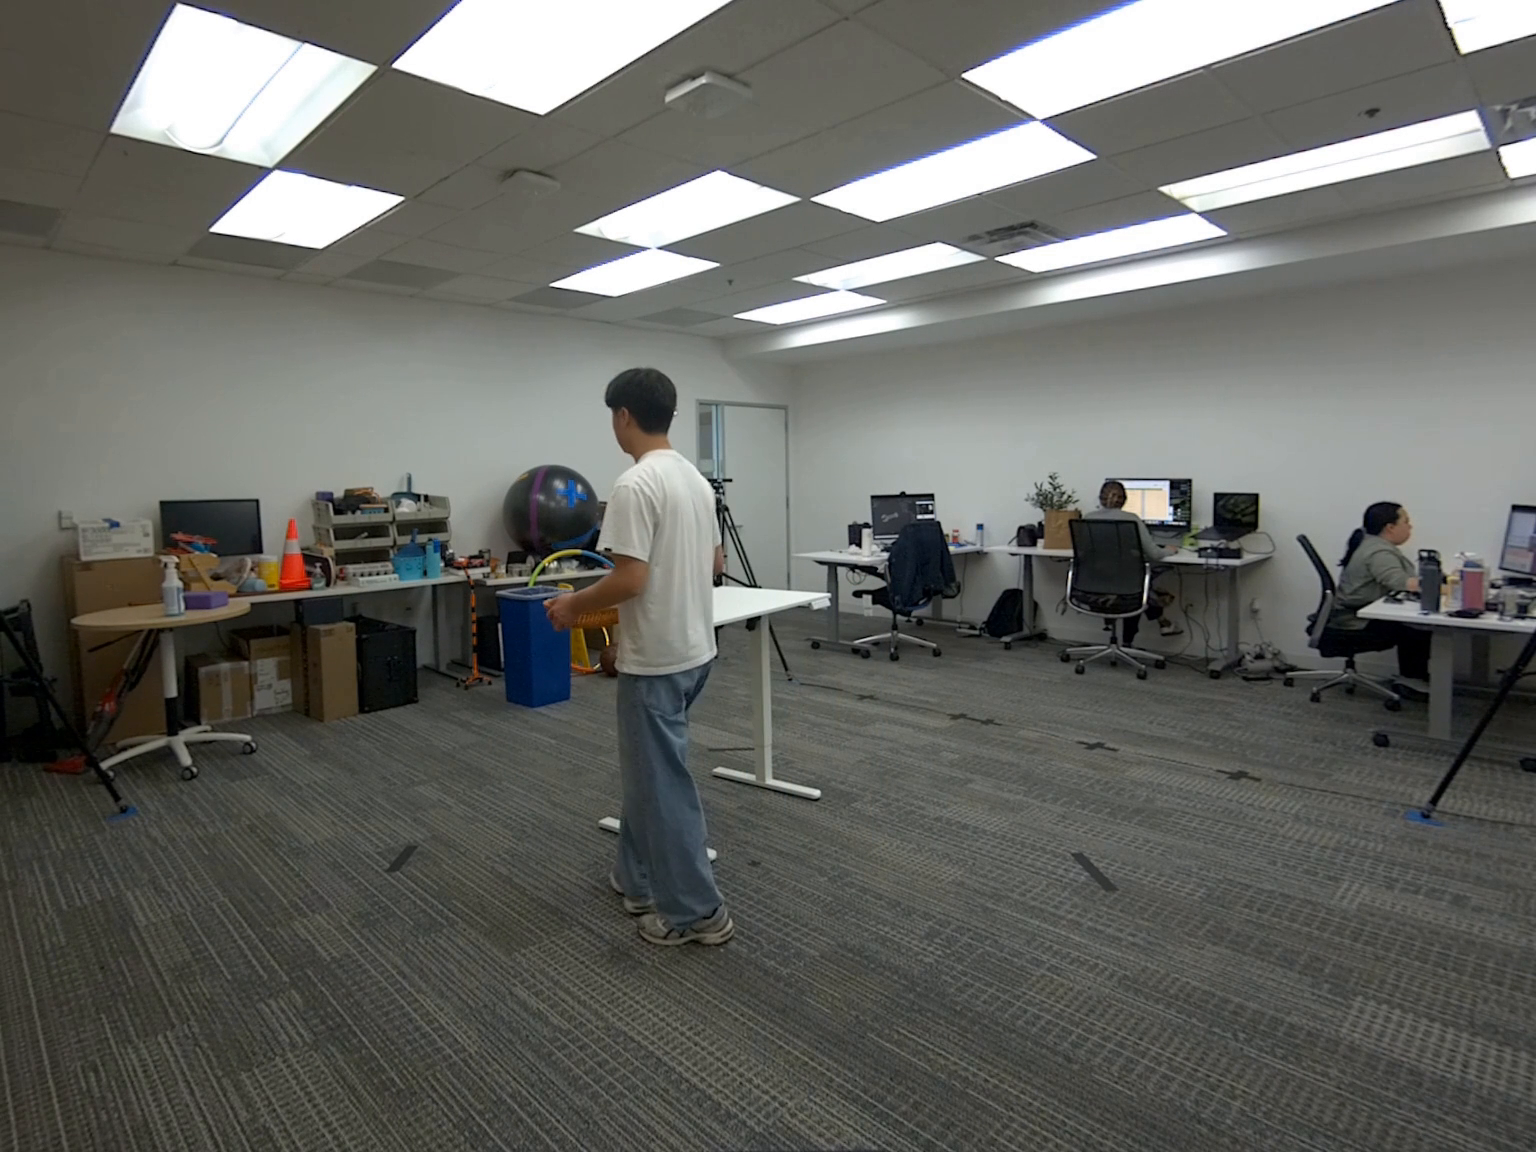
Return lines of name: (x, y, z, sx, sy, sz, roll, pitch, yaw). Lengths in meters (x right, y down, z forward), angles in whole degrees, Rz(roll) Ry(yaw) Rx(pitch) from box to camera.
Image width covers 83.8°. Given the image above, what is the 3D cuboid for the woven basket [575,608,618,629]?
woven basket: (-0.541, 0.119, 2.775, 0.260, 0.073, 0.341, 4, 6, 40)
